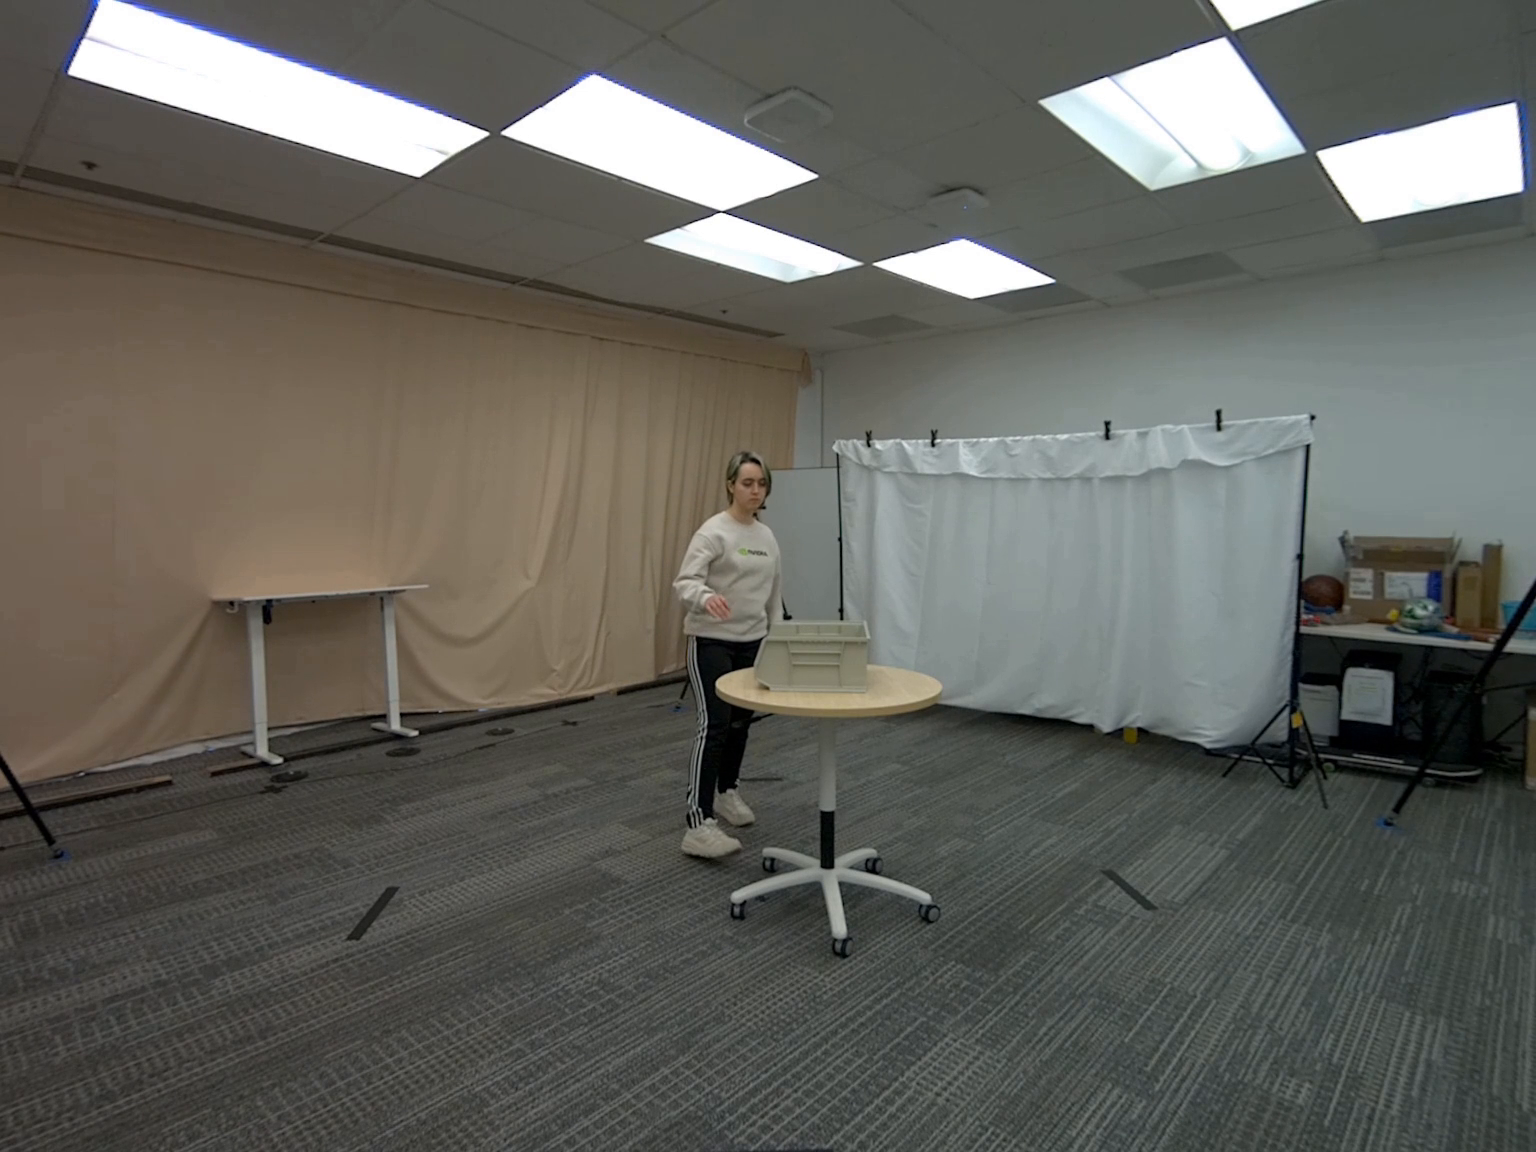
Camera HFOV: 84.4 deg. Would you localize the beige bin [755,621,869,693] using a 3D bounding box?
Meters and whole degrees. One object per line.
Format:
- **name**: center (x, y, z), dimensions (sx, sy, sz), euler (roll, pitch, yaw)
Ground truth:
- **beige bin**: center (0.162, 0.270, 2.938), dimensions (0.380, 0.188, 0.421), euler (2, 4, 5)
